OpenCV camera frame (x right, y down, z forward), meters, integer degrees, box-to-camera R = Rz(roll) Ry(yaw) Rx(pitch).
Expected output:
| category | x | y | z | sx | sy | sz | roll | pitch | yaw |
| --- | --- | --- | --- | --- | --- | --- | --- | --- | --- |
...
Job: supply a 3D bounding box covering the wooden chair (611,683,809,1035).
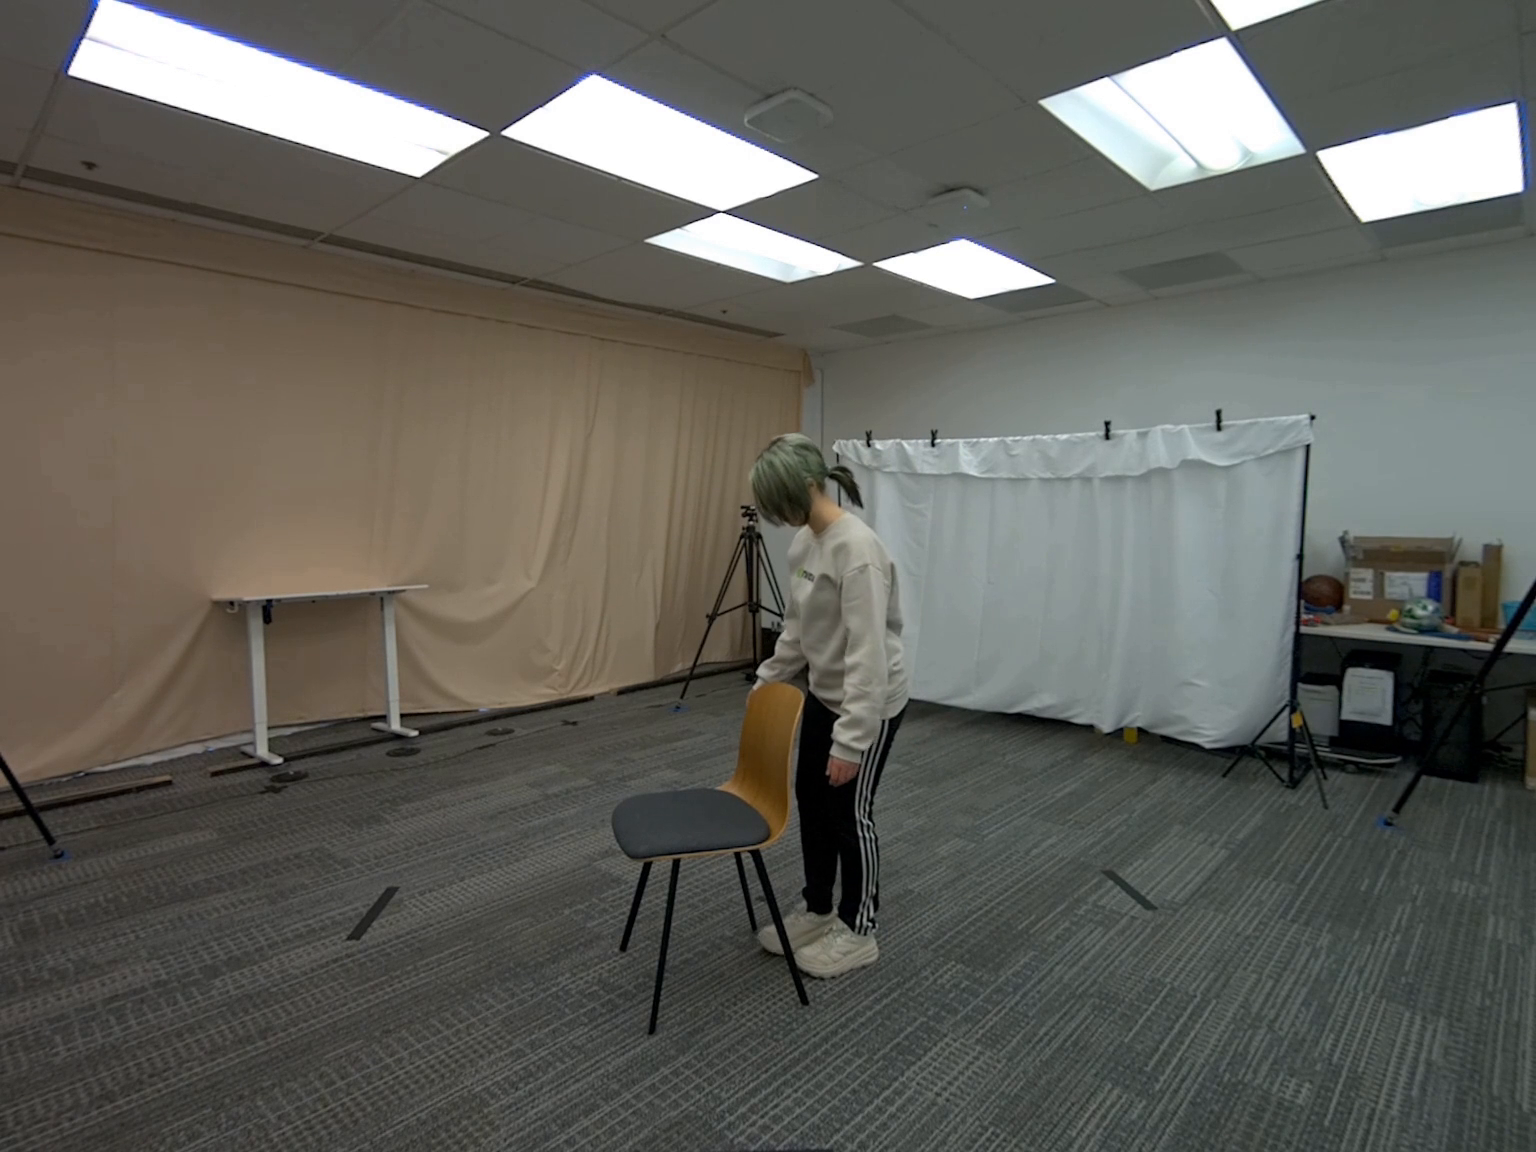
| category | x | y | z | sx | sy | sz | roll | pitch | yaw |
| --- | --- | --- | --- | --- | --- | --- | --- | --- | --- |
| wooden chair | -0.184 | 0.766 | 2.465 | 0.513 | 0.876 | 0.488 | 3 | 2 | -19 |
